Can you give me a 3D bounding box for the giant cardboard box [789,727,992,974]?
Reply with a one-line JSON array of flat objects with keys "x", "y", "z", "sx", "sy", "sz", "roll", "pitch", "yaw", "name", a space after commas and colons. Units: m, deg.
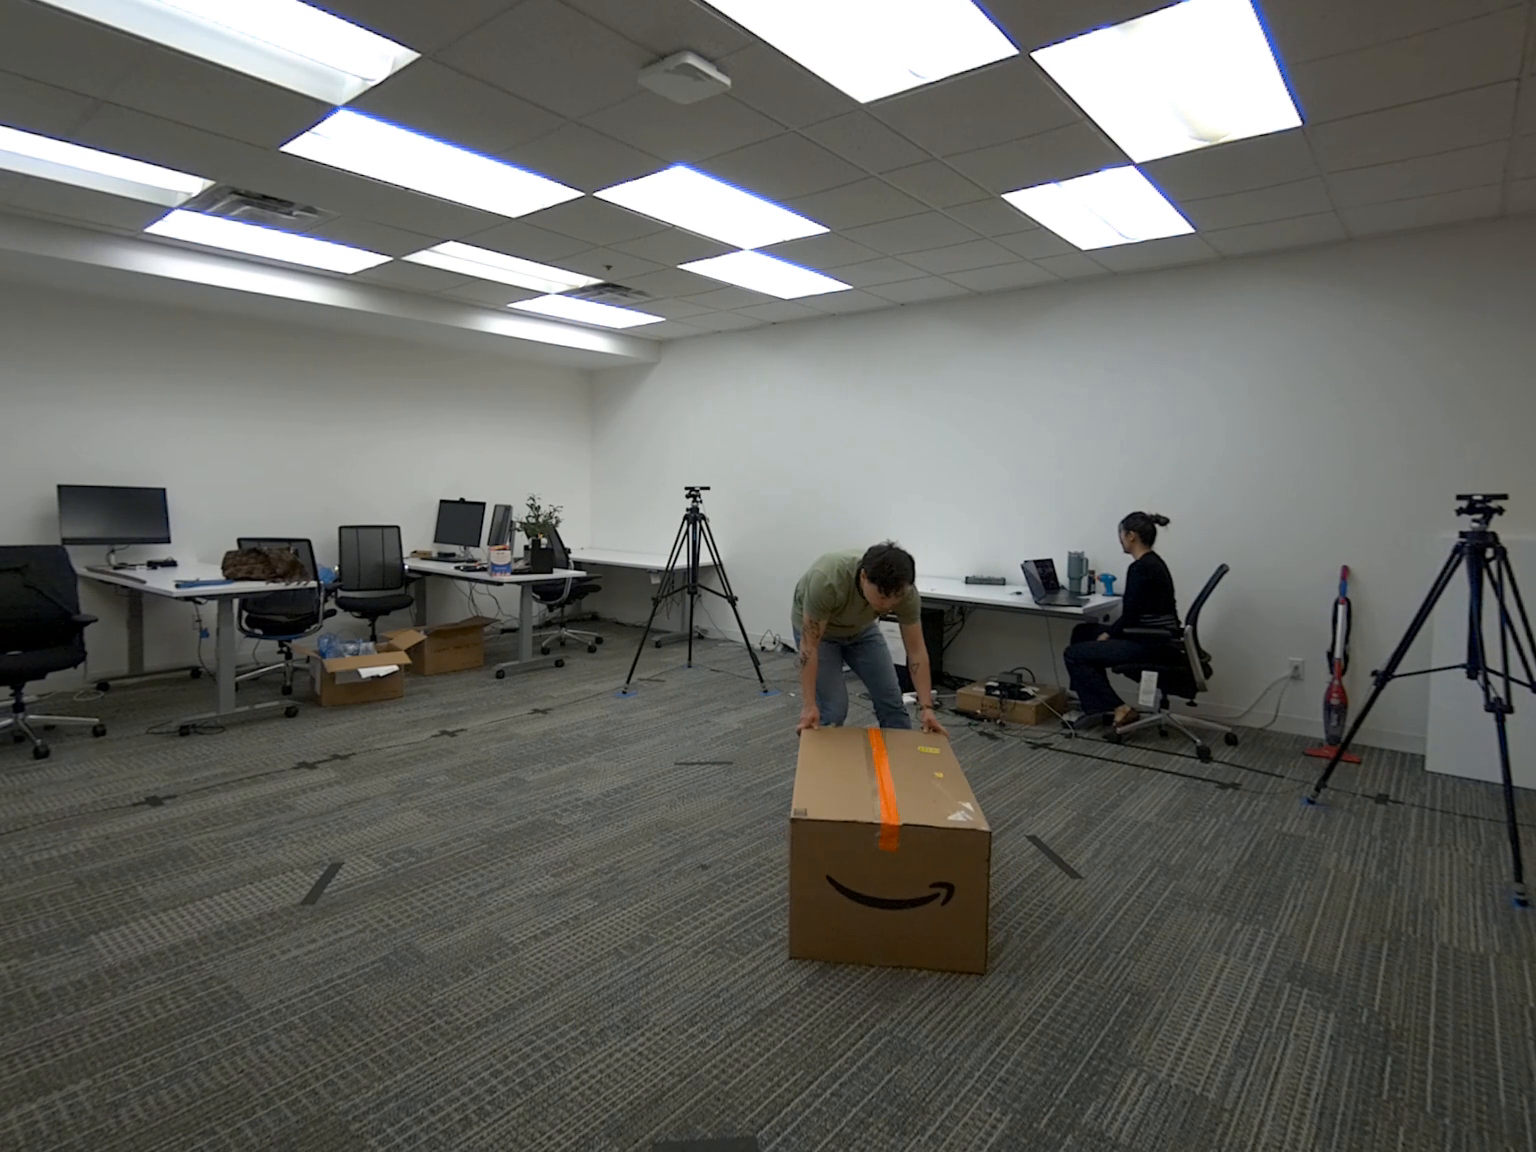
[{"x": 0.374, "y": 0.874, "z": 2.968, "sx": 0.582, "sy": 0.425, "sz": 1.023, "roll": 2, "pitch": 5, "yaw": 5, "name": "giant cardboard box"}]
